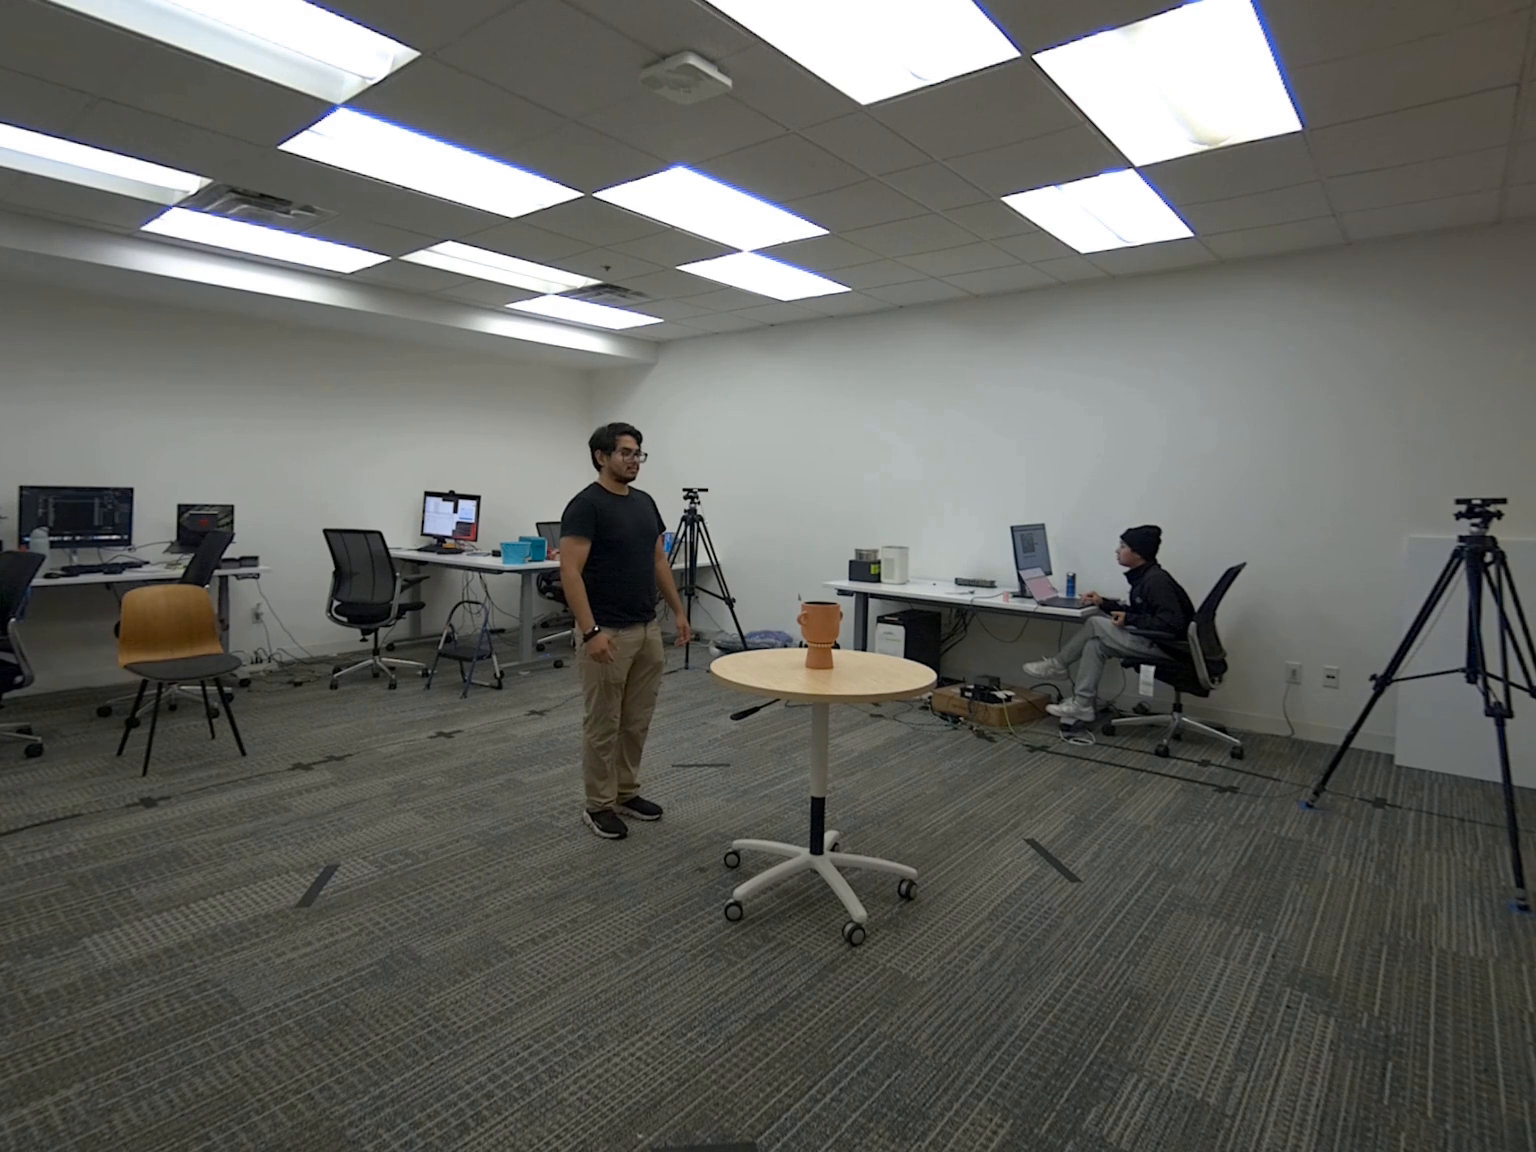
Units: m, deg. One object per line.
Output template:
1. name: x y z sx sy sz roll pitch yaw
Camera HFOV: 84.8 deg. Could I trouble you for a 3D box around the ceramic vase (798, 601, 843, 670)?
1. ceramic vase: 0.180 0.205 2.937 0.160 0.219 0.134 2 3 5
